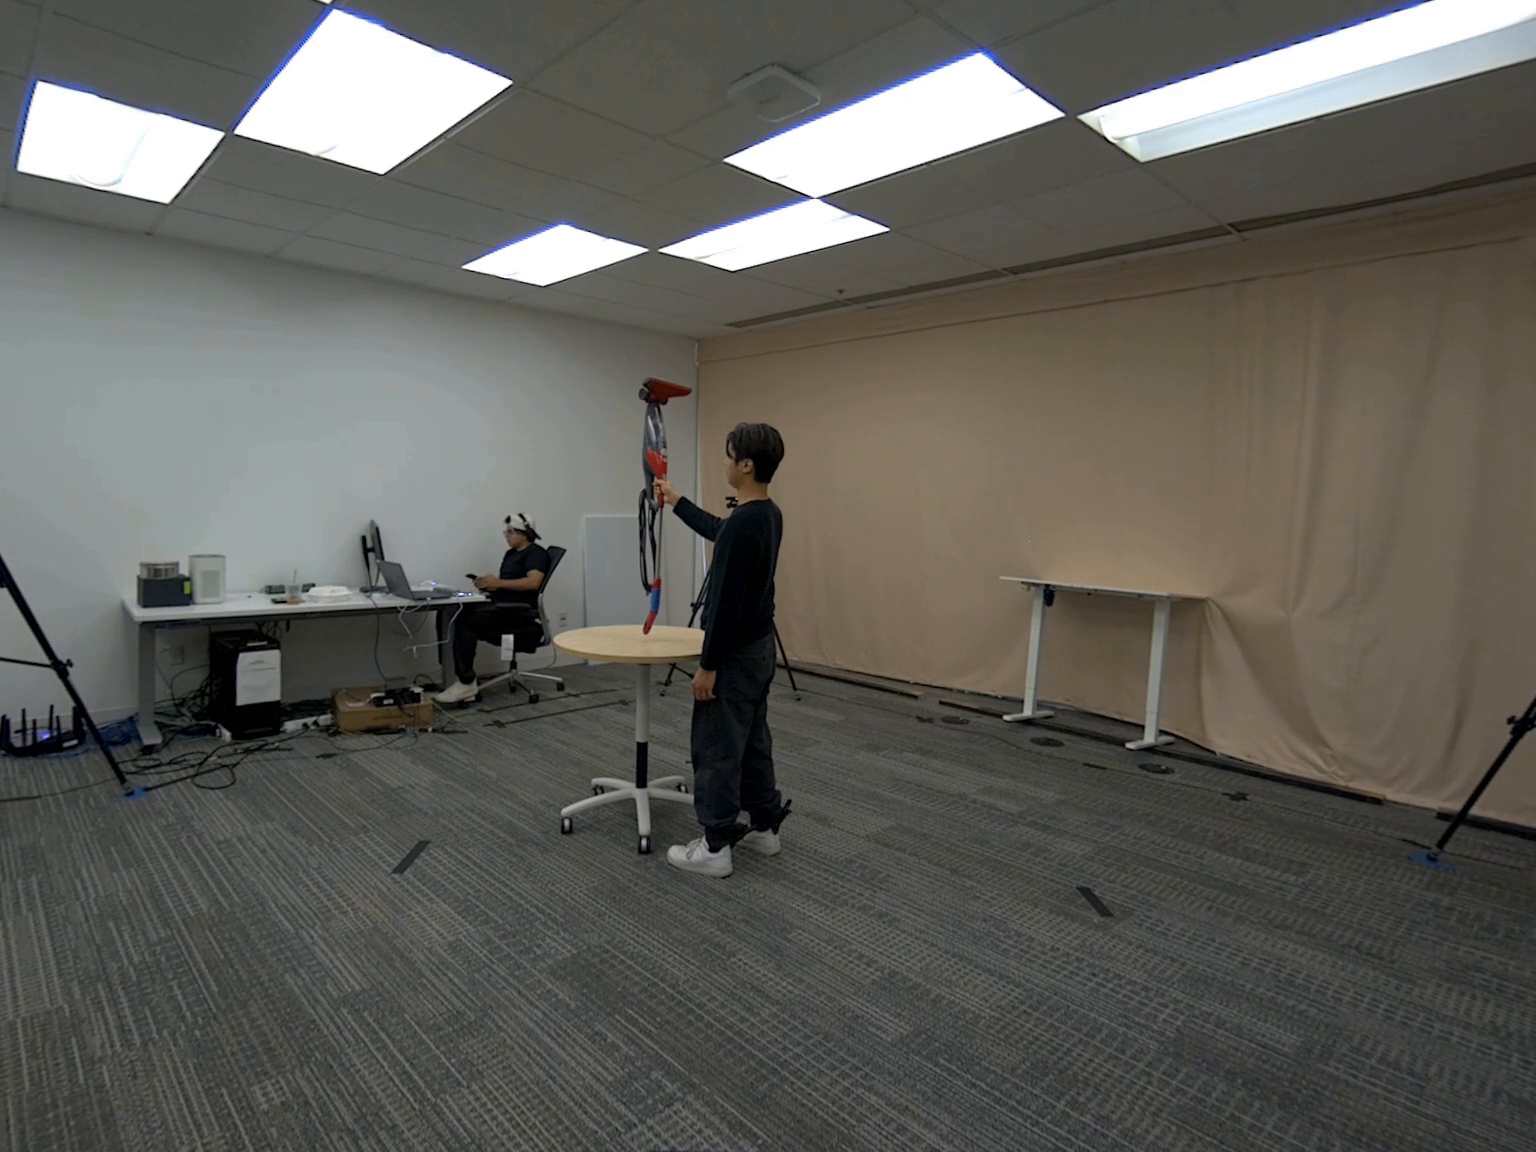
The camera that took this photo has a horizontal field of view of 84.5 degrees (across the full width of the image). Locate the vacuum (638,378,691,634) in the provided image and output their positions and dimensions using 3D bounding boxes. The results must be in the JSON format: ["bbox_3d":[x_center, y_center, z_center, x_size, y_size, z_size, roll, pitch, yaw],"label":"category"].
[{"bbox_3d":[-0.503,-0.286,3.598,0.147,1.050,0.246,3,-1,41],"label":"vacuum"}]
